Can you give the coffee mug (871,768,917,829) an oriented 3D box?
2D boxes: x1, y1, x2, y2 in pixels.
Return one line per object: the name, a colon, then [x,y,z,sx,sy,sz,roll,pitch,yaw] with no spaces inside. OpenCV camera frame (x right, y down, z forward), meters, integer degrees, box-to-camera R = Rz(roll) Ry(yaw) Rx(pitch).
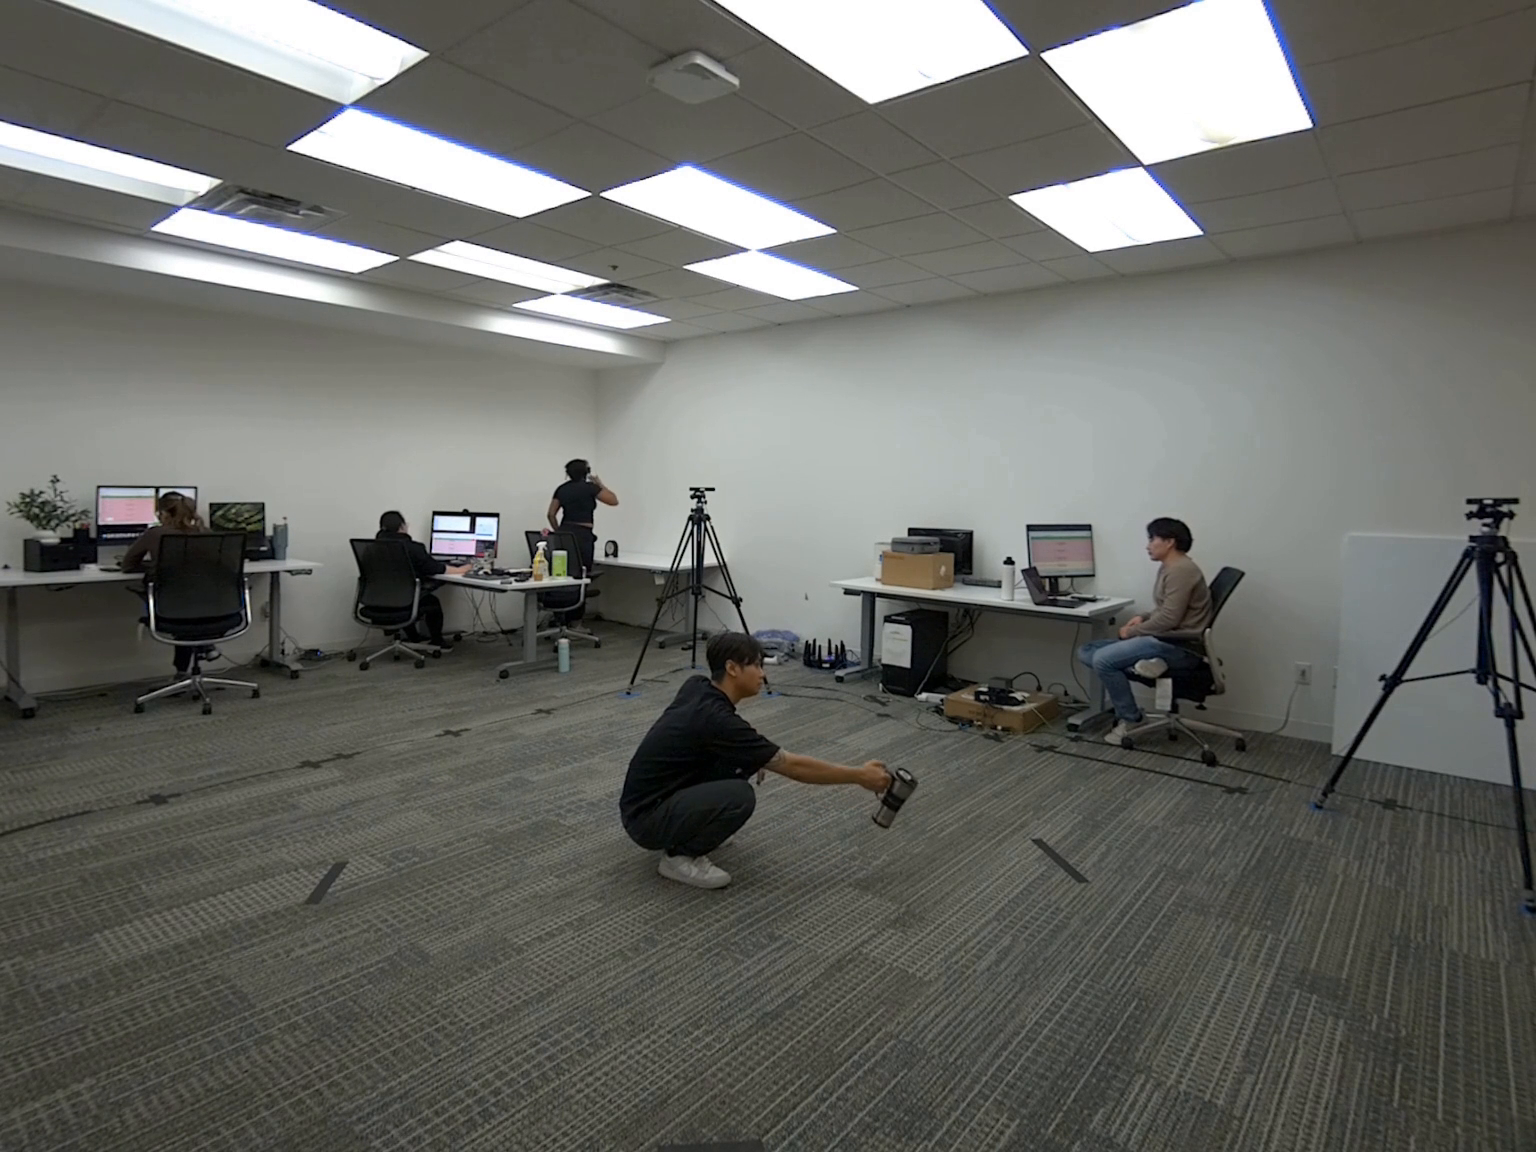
coffee mug: [0.413,0.784,3.018,0.126,0.202,0.085,36,18,23]
